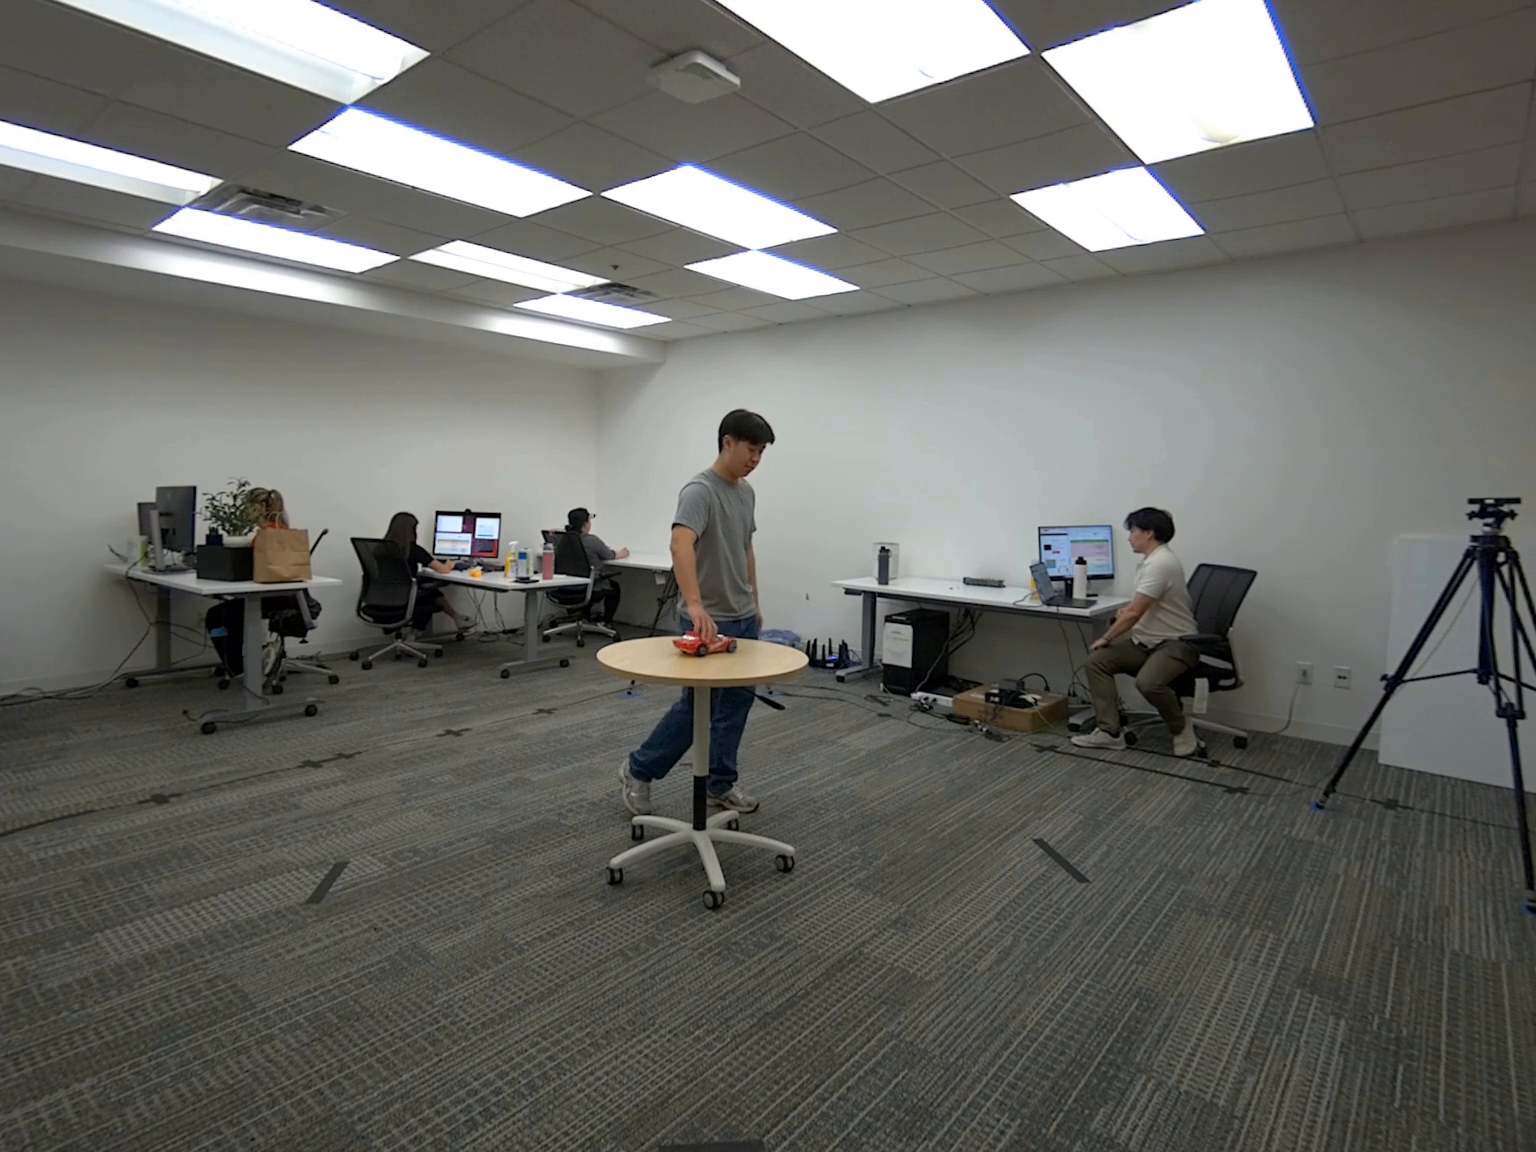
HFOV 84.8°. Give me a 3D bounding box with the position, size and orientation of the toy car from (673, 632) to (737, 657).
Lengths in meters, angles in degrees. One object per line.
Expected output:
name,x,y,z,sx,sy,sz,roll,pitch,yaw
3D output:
toy car,-0.247,0.248,3.123,0.245,0.083,0.135,11,-3,-41
